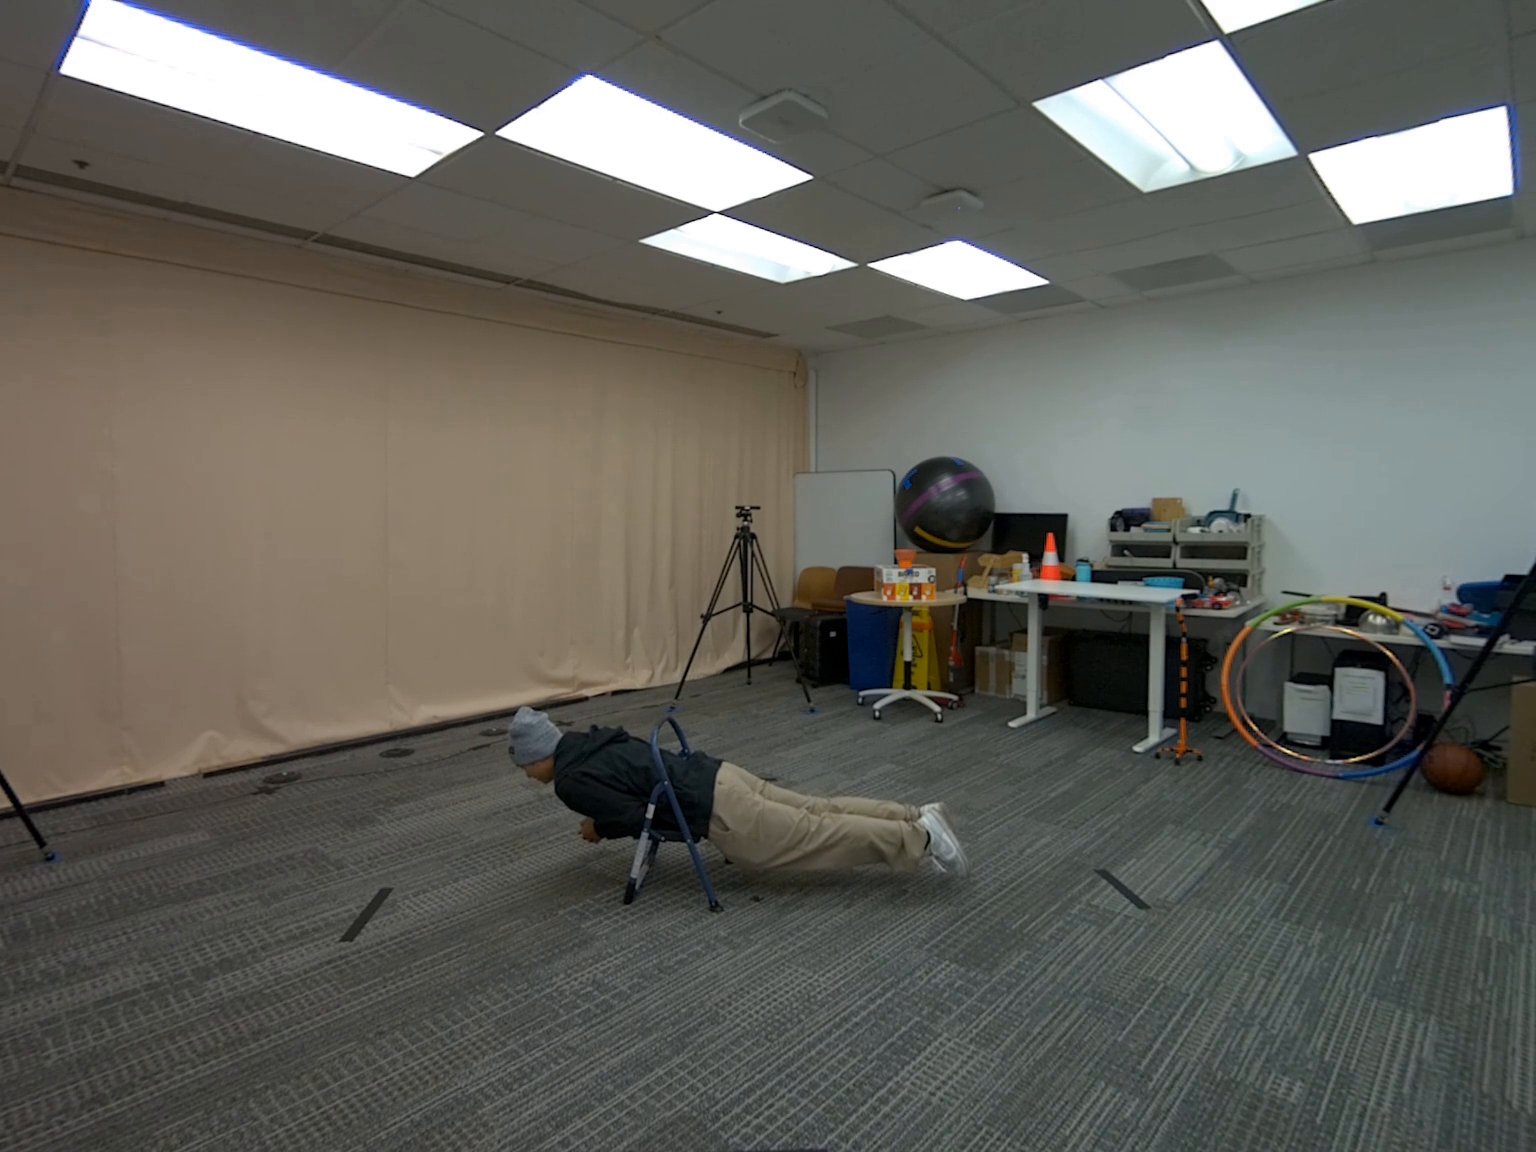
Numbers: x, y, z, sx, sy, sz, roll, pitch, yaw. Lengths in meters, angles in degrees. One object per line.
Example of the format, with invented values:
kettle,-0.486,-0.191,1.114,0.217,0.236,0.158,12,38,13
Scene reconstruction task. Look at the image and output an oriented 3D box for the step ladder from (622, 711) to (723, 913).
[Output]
step ladder,-0.320,0.838,3.104,0.351,0.605,0.429,-1,3,5
